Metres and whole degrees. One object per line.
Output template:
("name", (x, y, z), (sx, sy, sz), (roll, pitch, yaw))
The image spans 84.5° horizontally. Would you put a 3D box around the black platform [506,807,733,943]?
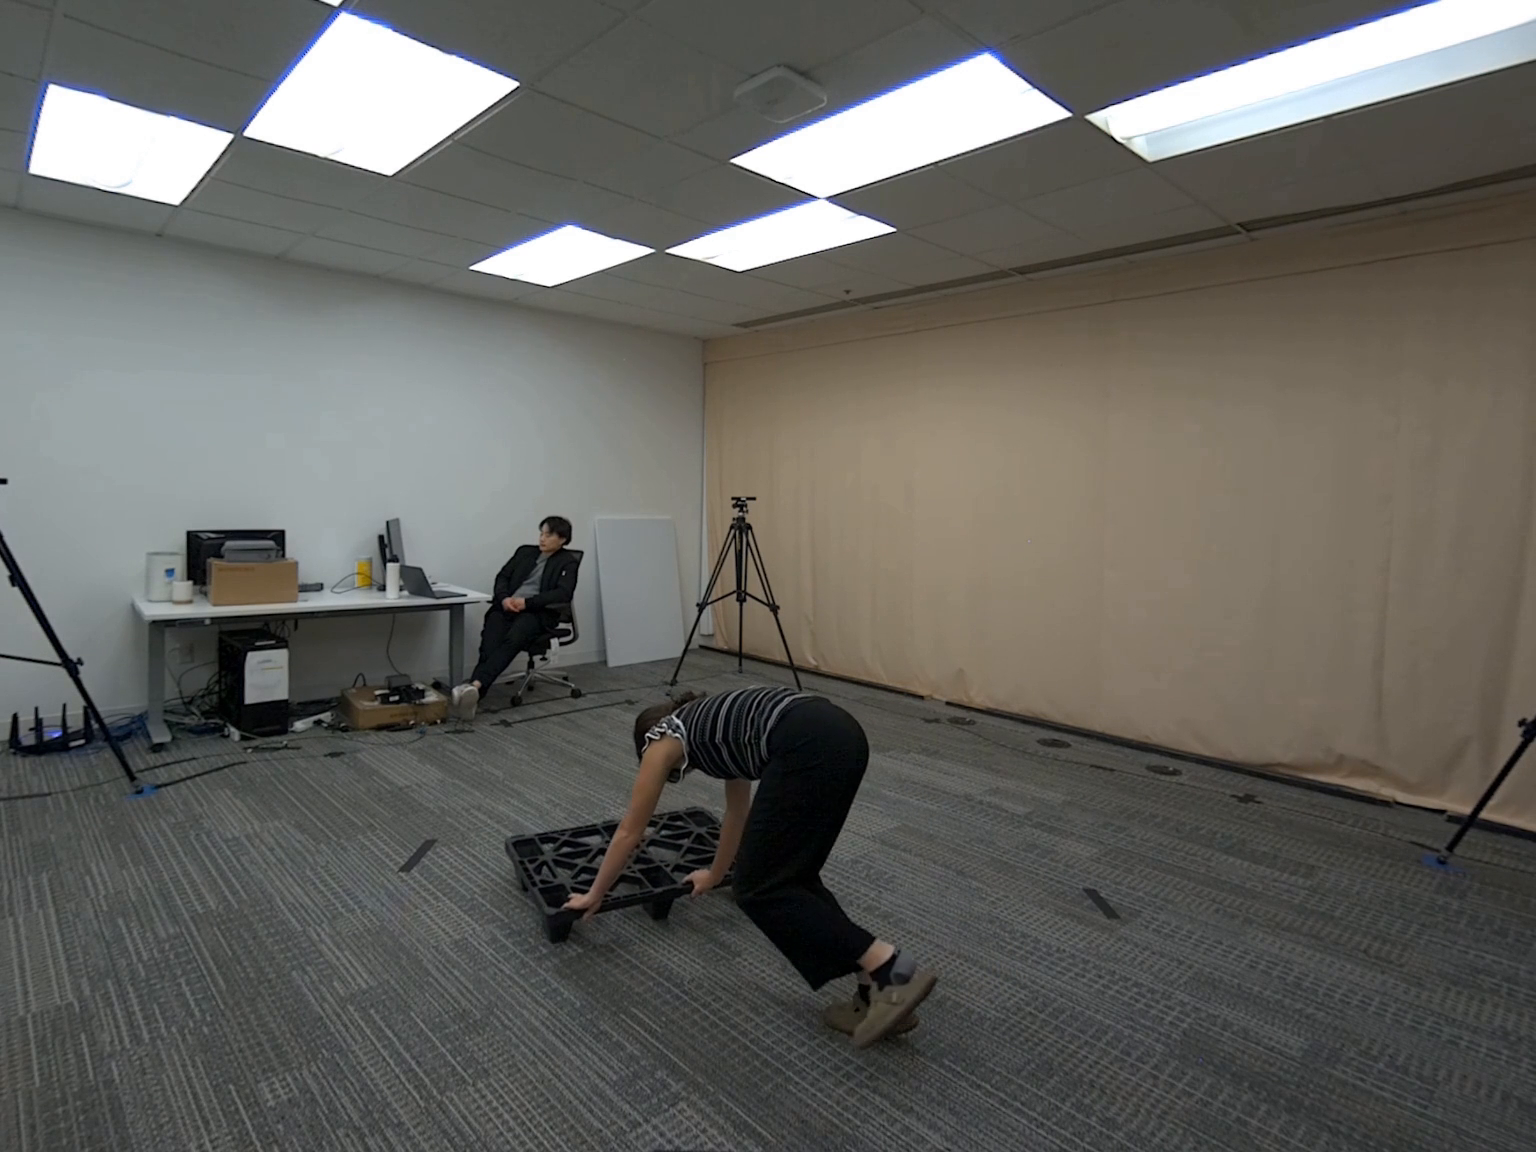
("black platform", (-0.477, 1.043, 2.978), (0.790, 0.143, 0.619), (-2, 6, -28))
